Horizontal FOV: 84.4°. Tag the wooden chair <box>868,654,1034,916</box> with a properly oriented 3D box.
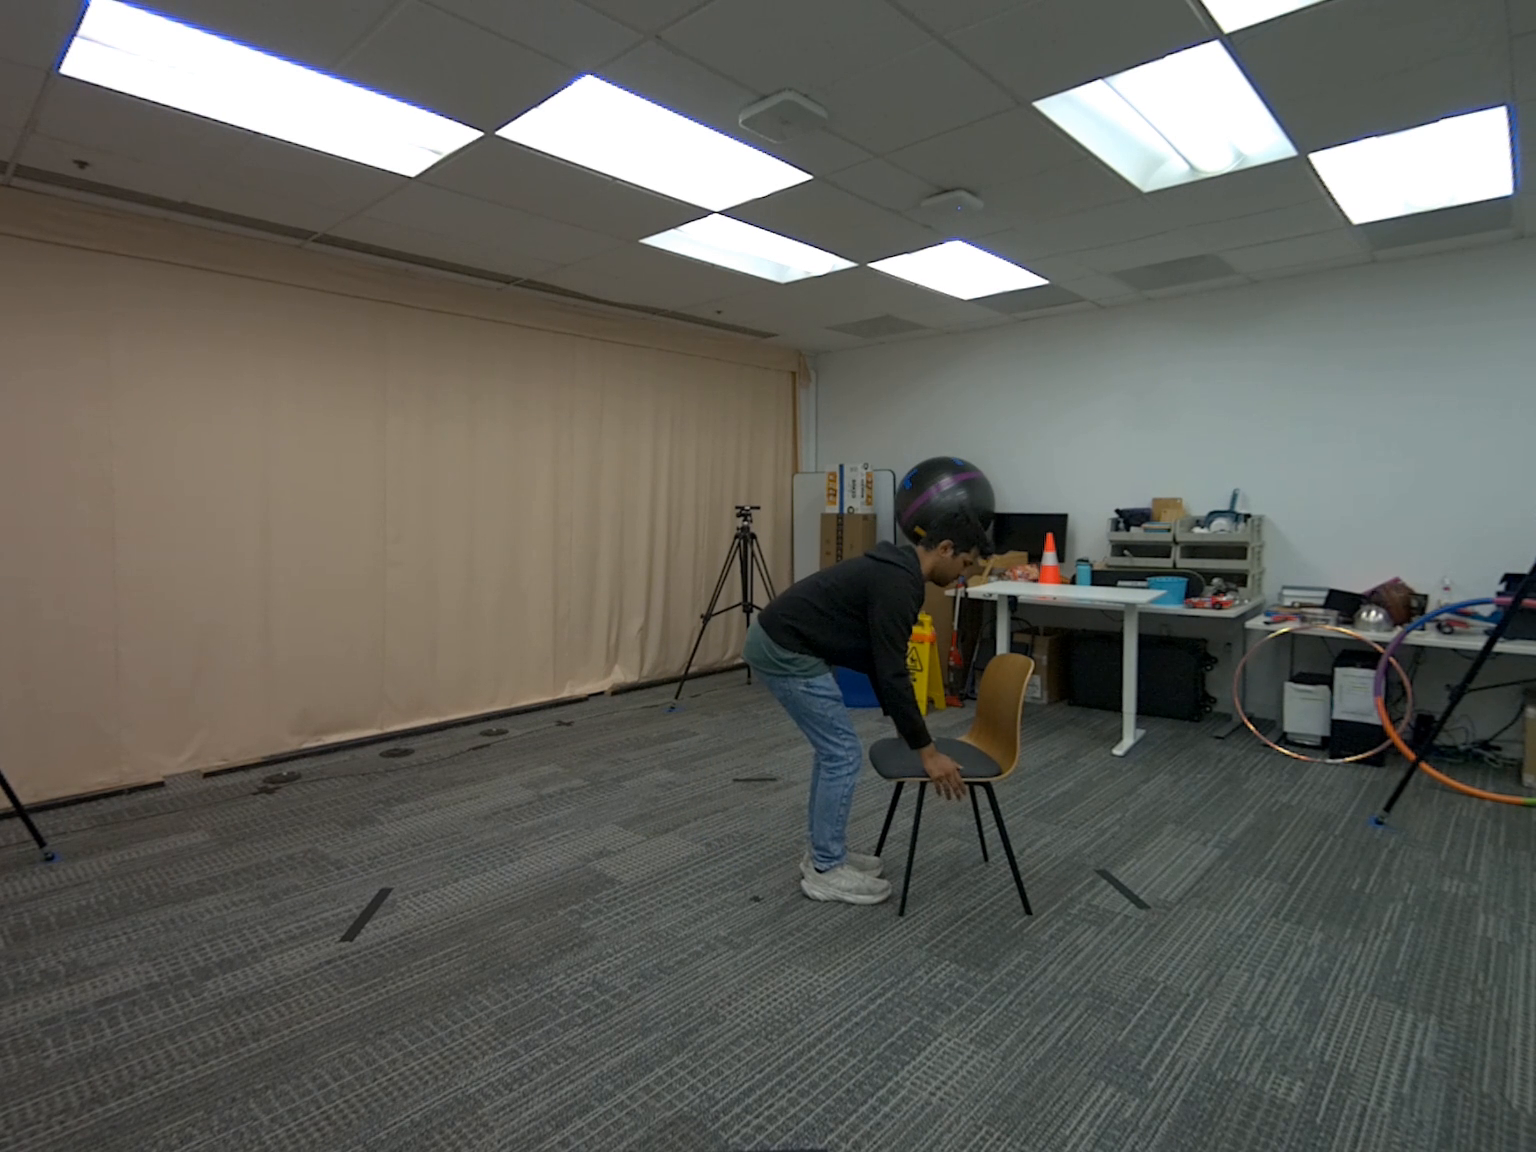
[{"bbox_3d":[0.650,0.708,3.036,0.522,0.876,0.480,5,3,-3],"label":"wooden chair"}]
